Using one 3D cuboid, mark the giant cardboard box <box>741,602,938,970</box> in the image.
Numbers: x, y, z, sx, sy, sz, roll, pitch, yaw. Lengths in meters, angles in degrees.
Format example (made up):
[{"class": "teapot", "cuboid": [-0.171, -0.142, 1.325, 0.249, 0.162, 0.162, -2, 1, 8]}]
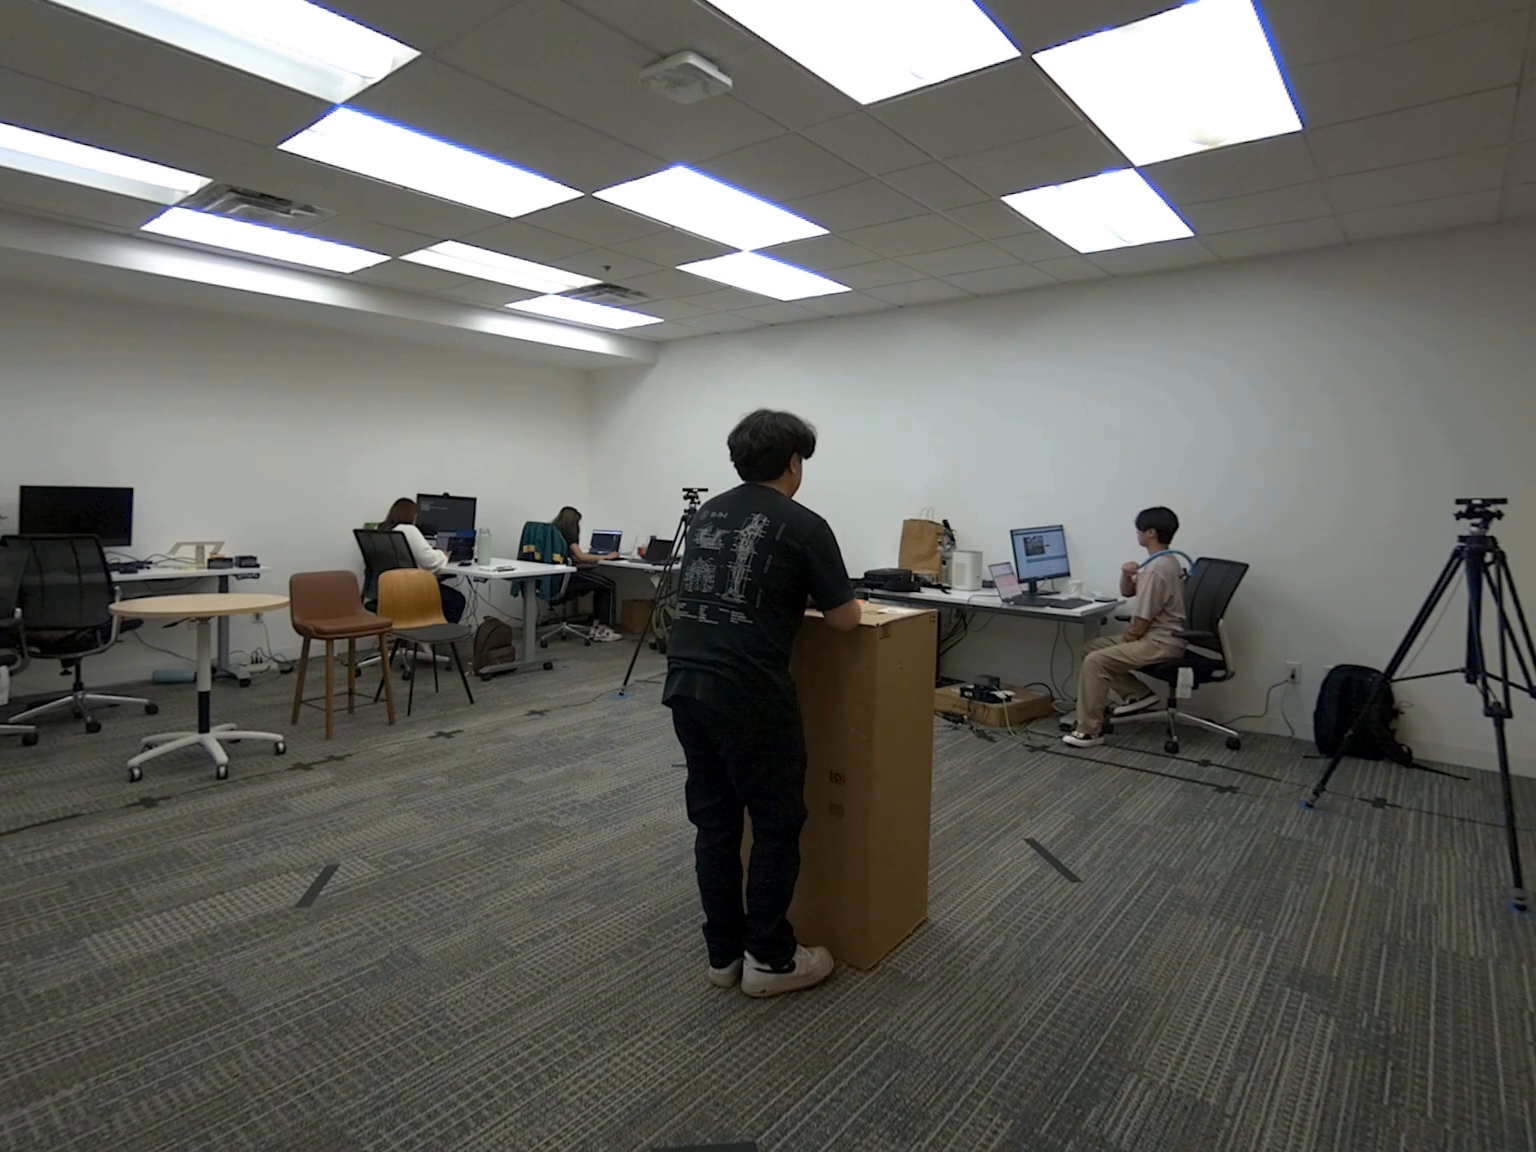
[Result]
[{"class": "giant cardboard box", "cuboid": [0.180, 0.599, 2.782, 0.603, 1.024, 0.433, 4, 4, 37]}]
